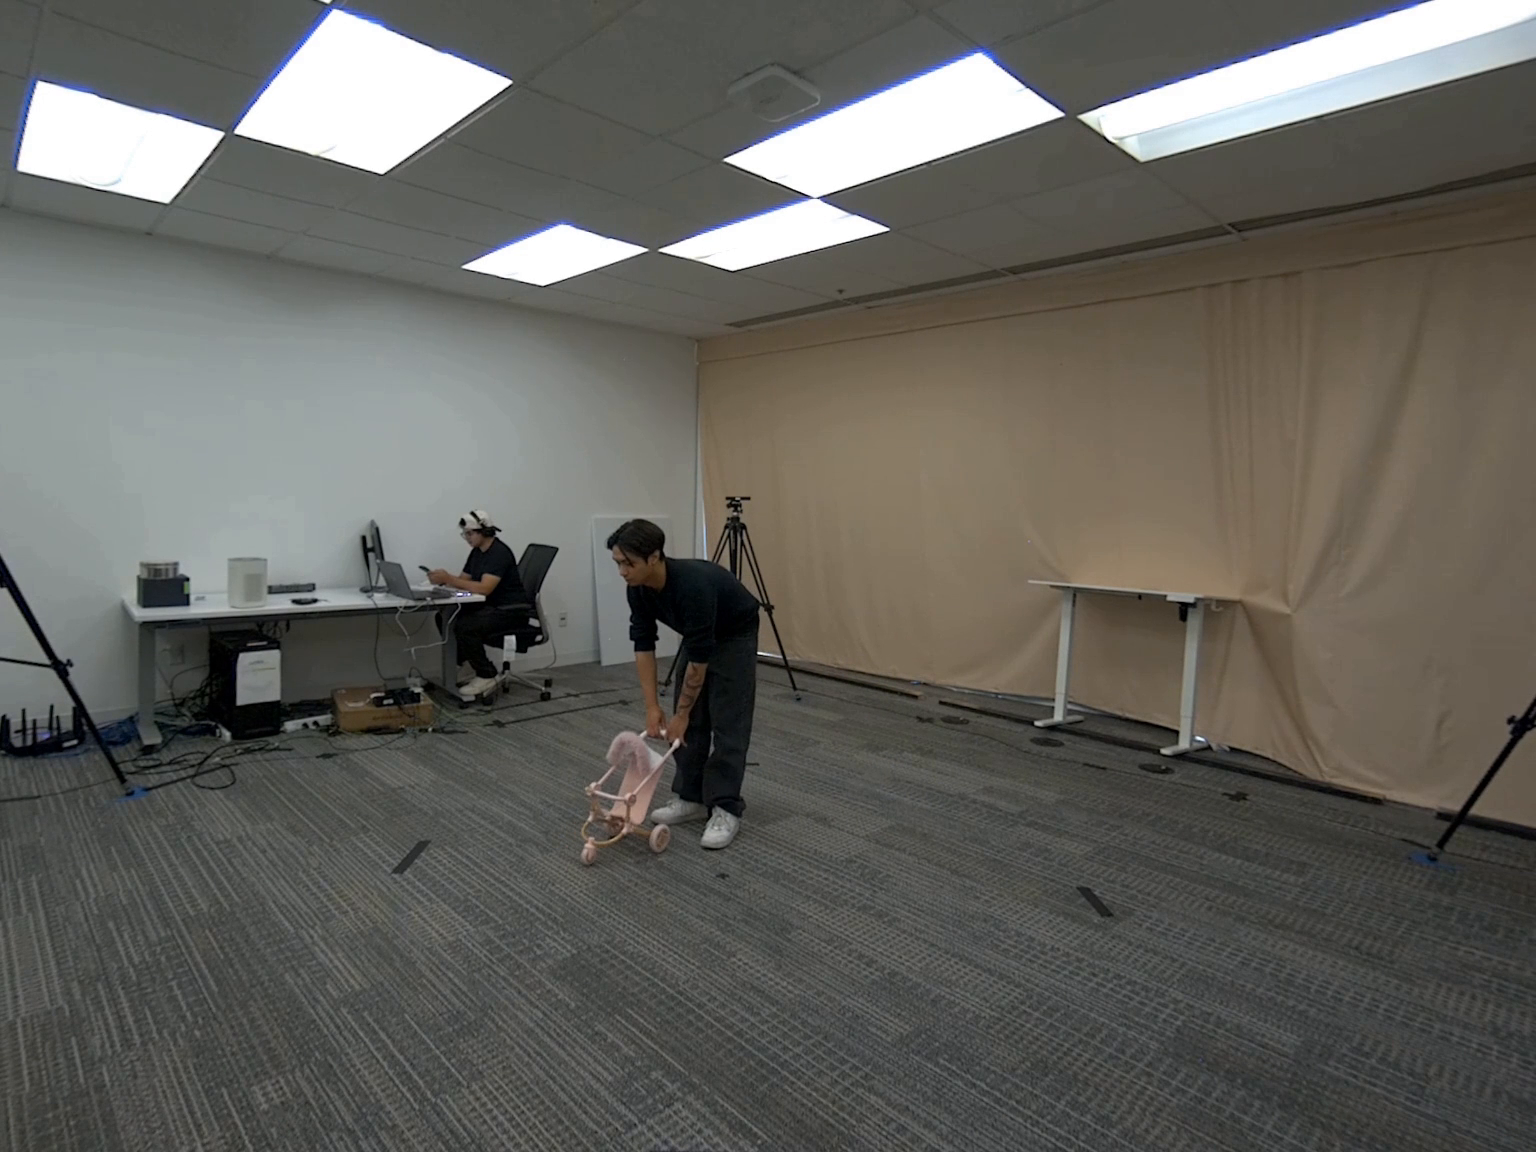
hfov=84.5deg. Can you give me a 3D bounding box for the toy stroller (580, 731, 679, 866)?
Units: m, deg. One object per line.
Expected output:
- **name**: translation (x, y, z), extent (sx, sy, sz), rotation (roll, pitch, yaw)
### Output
- **toy stroller**: translation (-0.574, 0.856, 3.311), extent (0.288, 0.538, 0.331), rotation (4, -12, 41)
